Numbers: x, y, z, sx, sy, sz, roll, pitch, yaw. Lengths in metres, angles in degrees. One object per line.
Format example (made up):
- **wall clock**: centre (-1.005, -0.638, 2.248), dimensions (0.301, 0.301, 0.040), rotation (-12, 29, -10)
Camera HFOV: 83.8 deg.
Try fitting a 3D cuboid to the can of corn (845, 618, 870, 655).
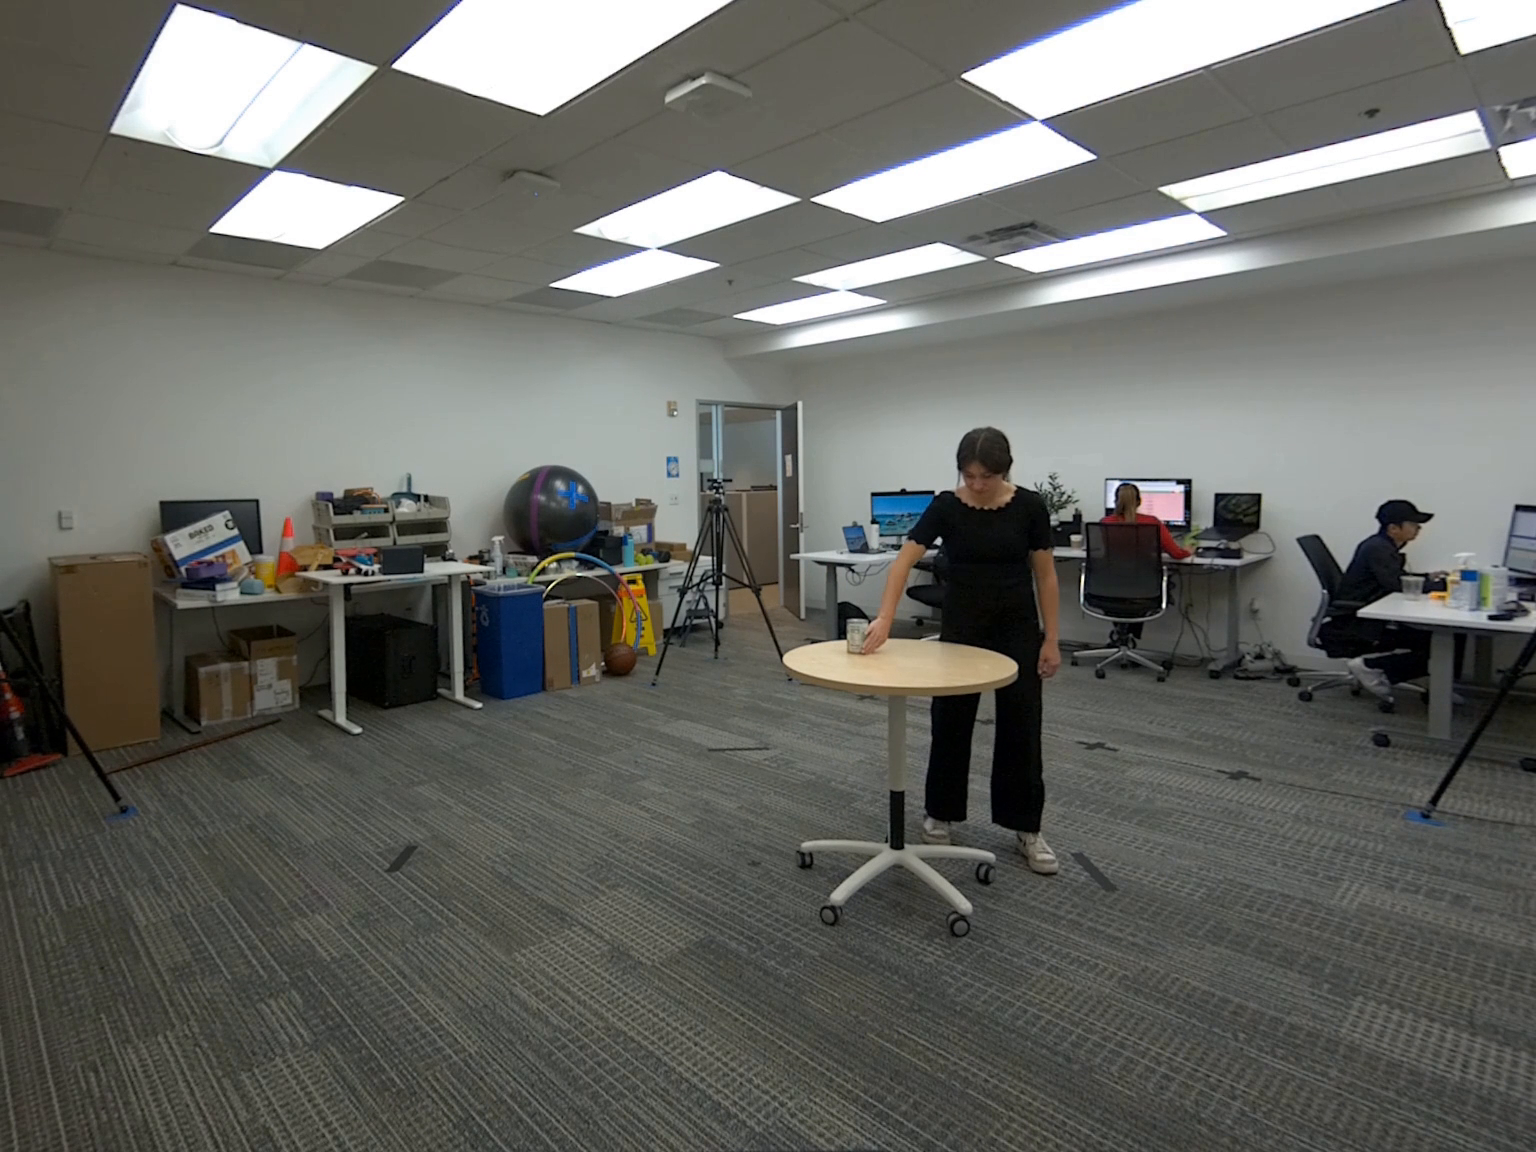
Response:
- **can of corn**: centre (0.312, 0.211, 2.981), dimensions (0.074, 0.111, 0.074), rotation (0, 3, -2)
